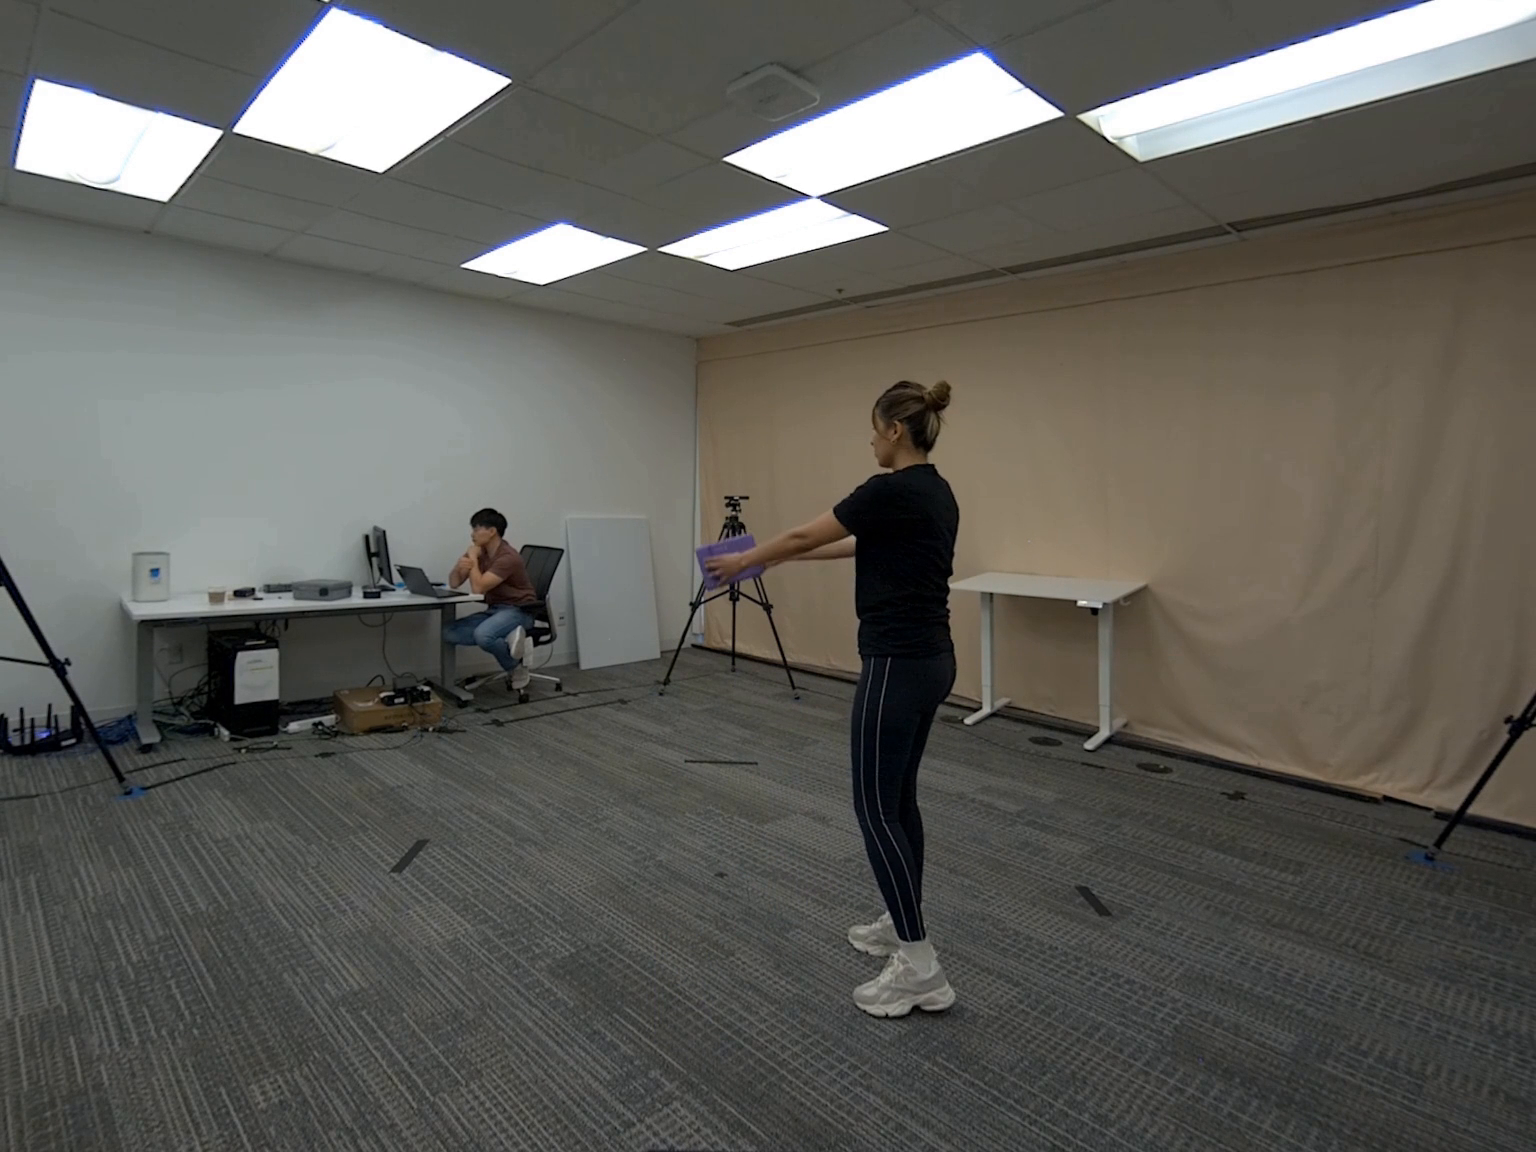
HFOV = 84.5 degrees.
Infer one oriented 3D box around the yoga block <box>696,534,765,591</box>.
[{"bbox_3d":[-0.112,-0.047,2.822,0.077,0.149,0.225,-17,-2,43],"label":"yoga block"}]
